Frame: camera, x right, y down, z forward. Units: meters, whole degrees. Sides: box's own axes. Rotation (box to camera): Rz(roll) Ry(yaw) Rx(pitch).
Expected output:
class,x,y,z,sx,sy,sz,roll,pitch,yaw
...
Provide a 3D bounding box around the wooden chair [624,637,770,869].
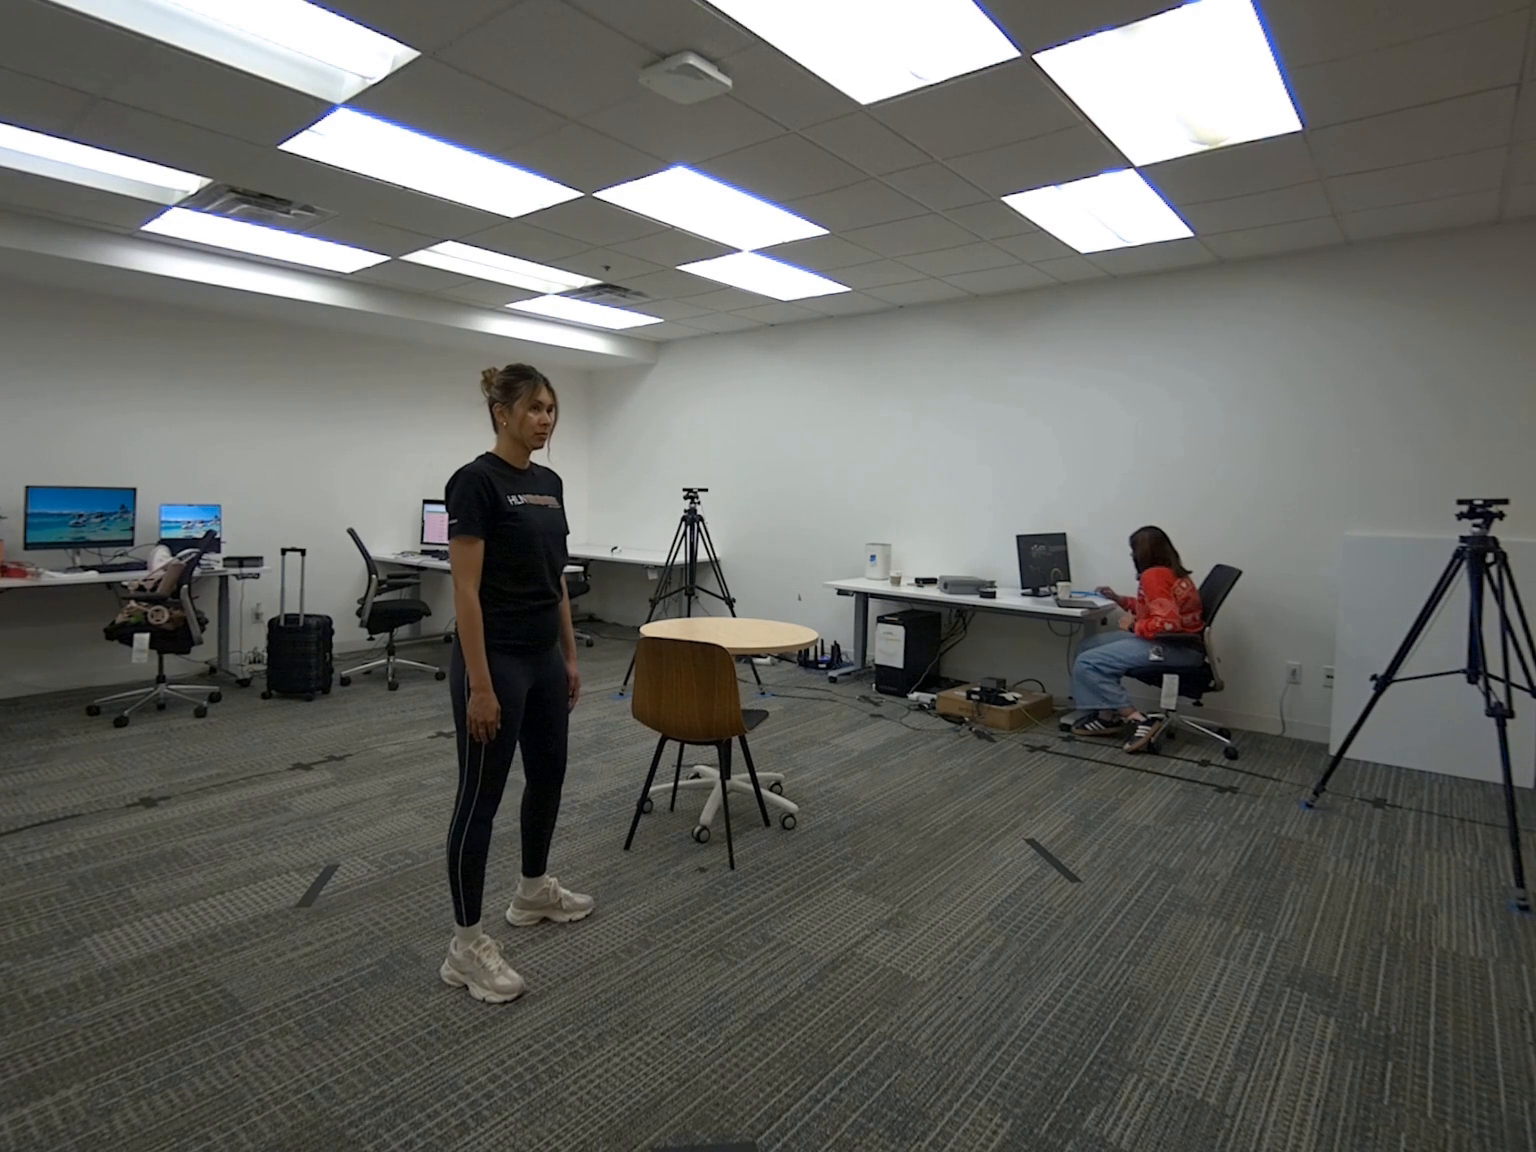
class,x,y,z,sx,sy,sz,roll,pitch,yaw
wooden chair,-0.274,0.615,3.371,0.488,0.872,0.515,2,7,20
